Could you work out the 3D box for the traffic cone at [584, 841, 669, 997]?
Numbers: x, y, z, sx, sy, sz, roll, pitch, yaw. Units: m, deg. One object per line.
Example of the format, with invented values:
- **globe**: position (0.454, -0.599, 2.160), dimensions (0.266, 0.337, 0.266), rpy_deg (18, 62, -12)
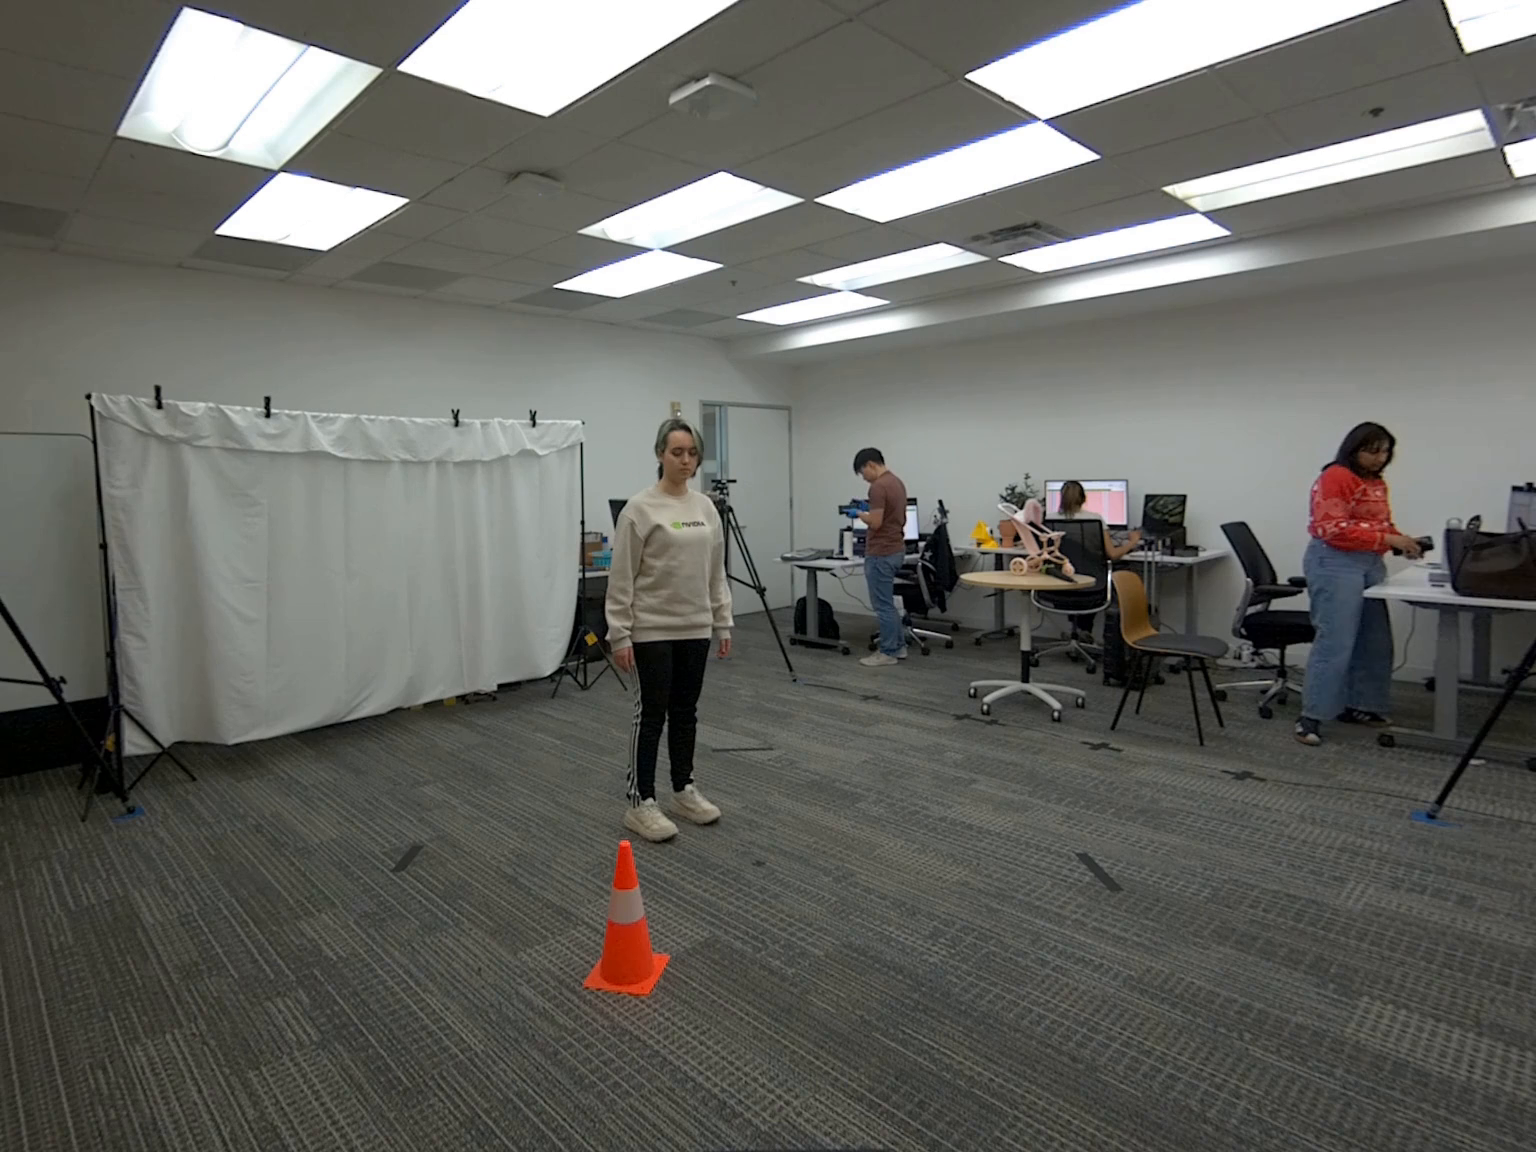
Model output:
- **traffic cone**: position (-0.401, 0.951, 2.428), dimensions (0.206, 0.382, 0.203), rpy_deg (0, 5, 13)
